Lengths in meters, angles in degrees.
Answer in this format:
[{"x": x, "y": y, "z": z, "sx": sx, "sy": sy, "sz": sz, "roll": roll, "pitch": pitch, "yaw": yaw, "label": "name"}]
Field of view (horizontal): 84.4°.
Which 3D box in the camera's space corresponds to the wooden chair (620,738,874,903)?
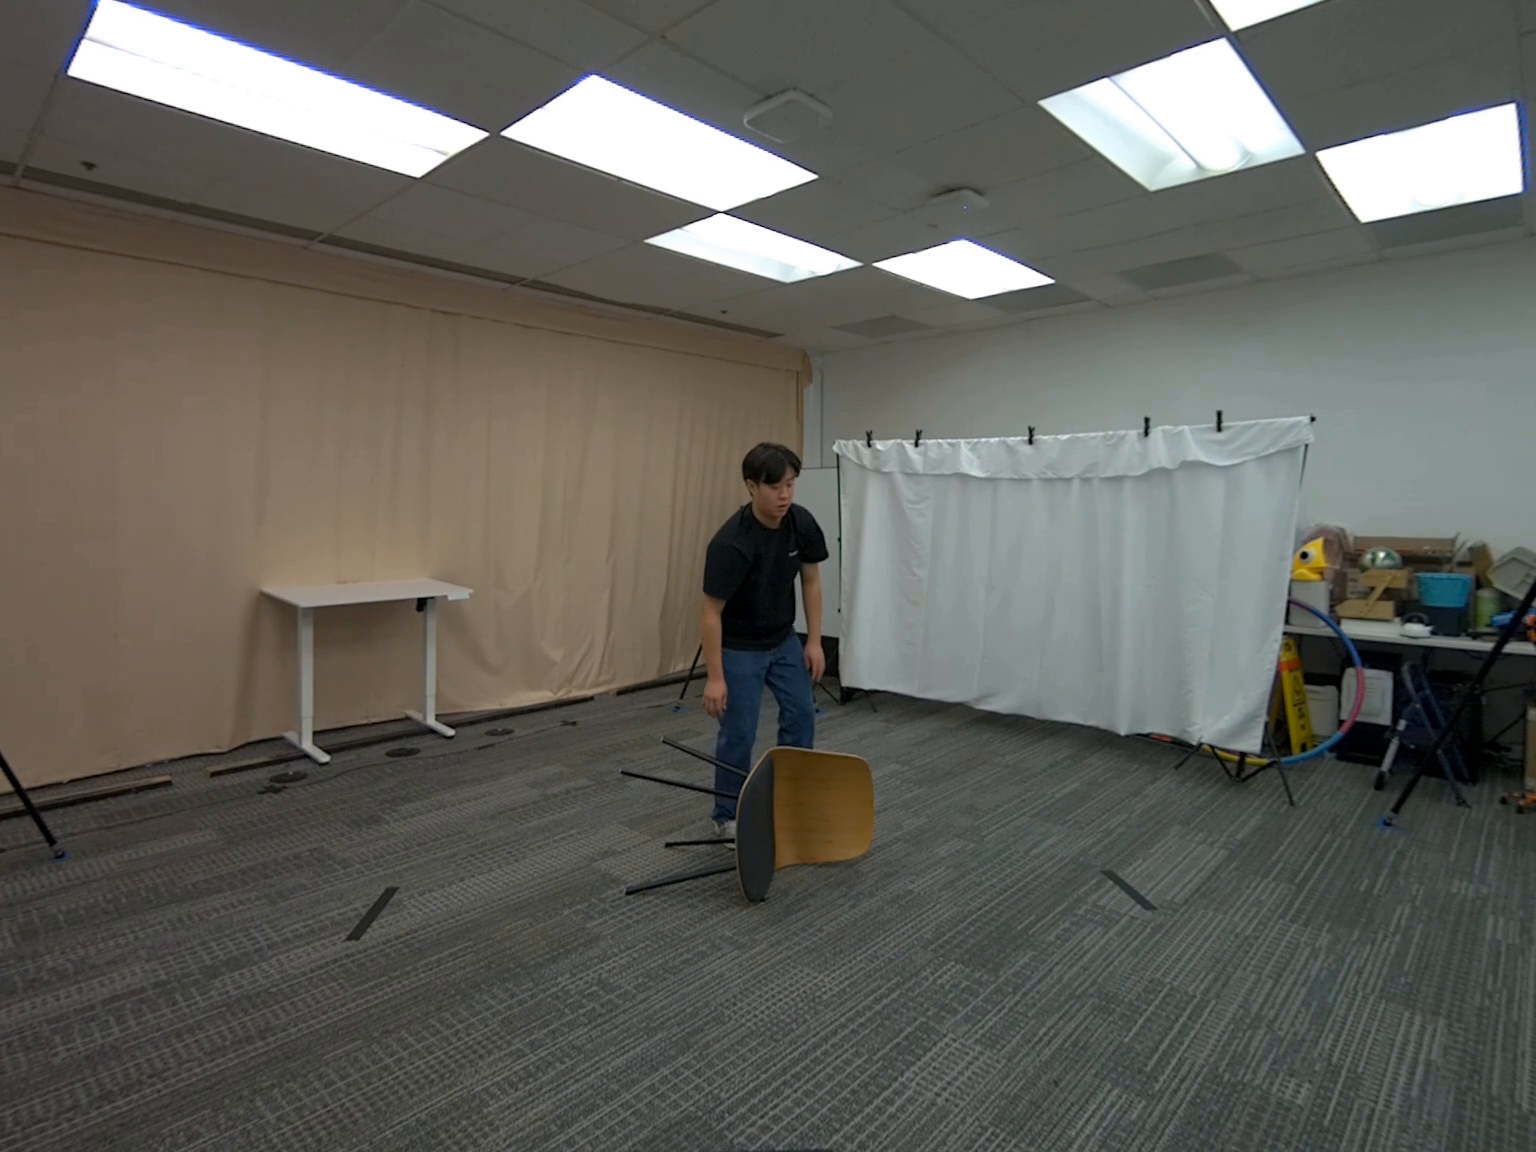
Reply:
[{"x": -0.049, "y": 0.899, "z": 3.107, "sx": 0.888, "sy": 0.477, "sz": 0.518, "roll": 1, "pitch": 3, "yaw": 11, "label": "wooden chair"}]
